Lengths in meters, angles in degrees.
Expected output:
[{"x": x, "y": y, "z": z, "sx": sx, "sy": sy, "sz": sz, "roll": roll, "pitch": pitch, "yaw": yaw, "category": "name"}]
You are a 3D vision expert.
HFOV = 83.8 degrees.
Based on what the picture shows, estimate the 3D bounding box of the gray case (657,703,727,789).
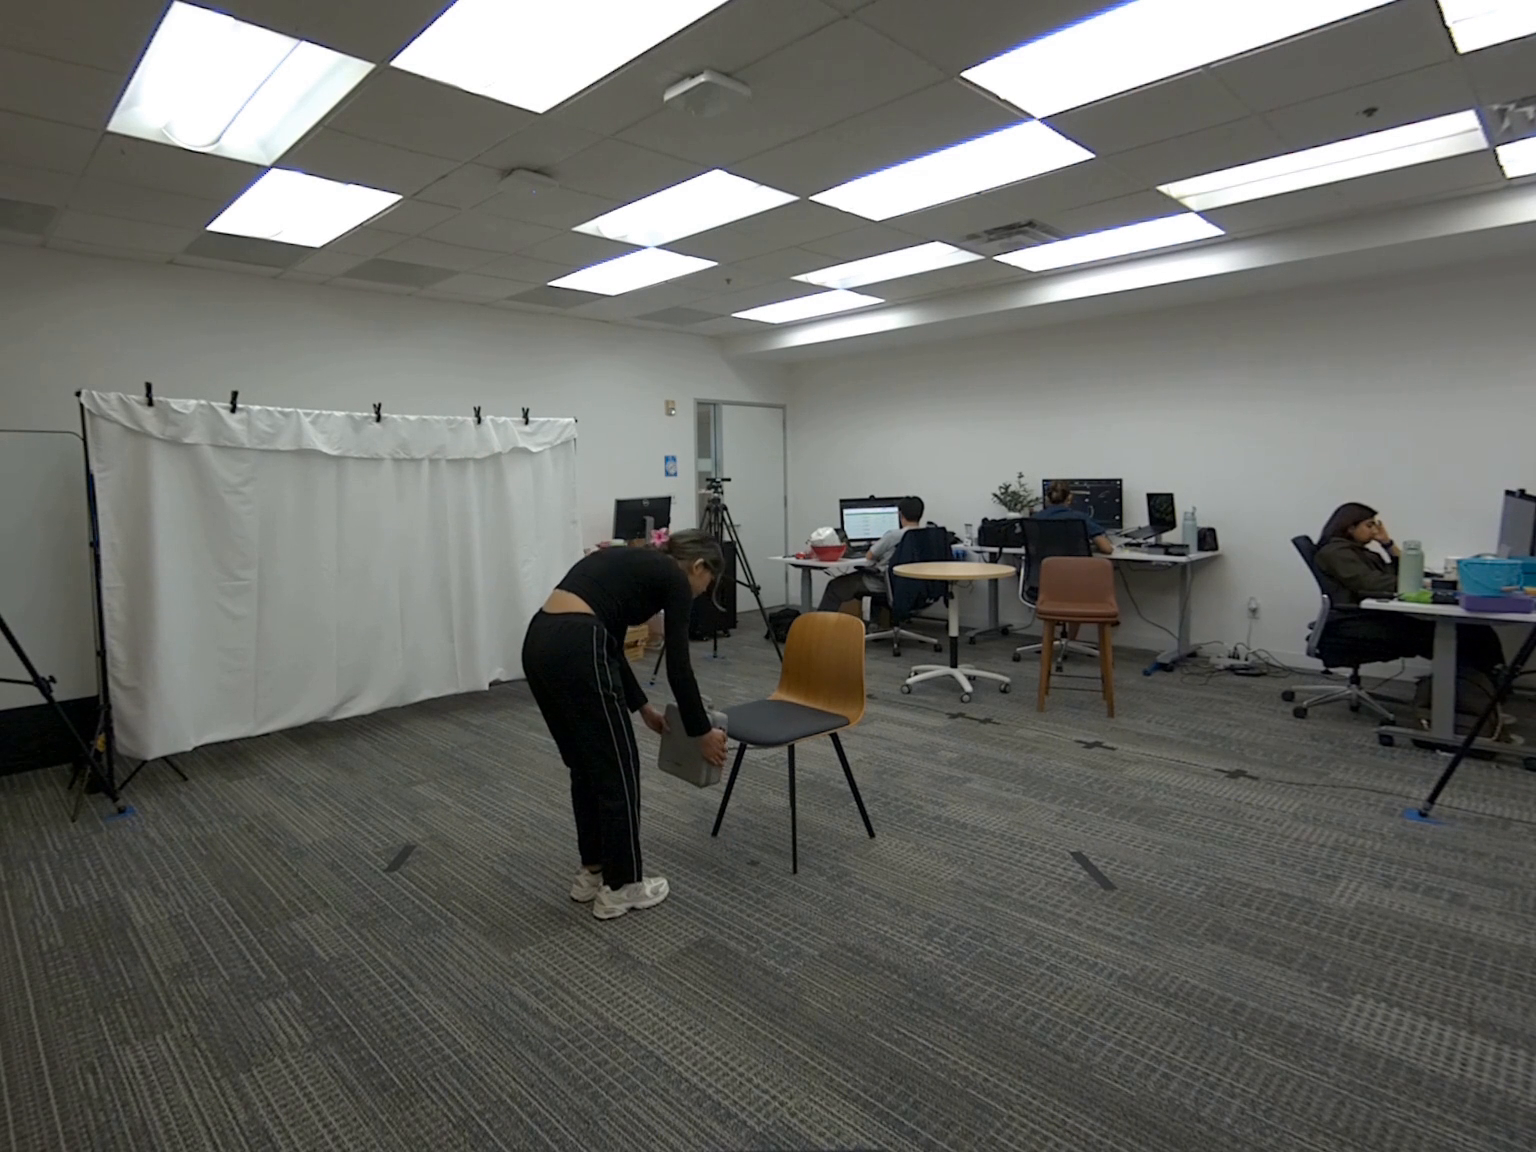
[{"x": -0.264, "y": 0.576, "z": 2.994, "sx": 0.101, "sy": 0.261, "sz": 0.265, "roll": 8, "pitch": -1, "yaw": -42, "category": "gray case"}]
